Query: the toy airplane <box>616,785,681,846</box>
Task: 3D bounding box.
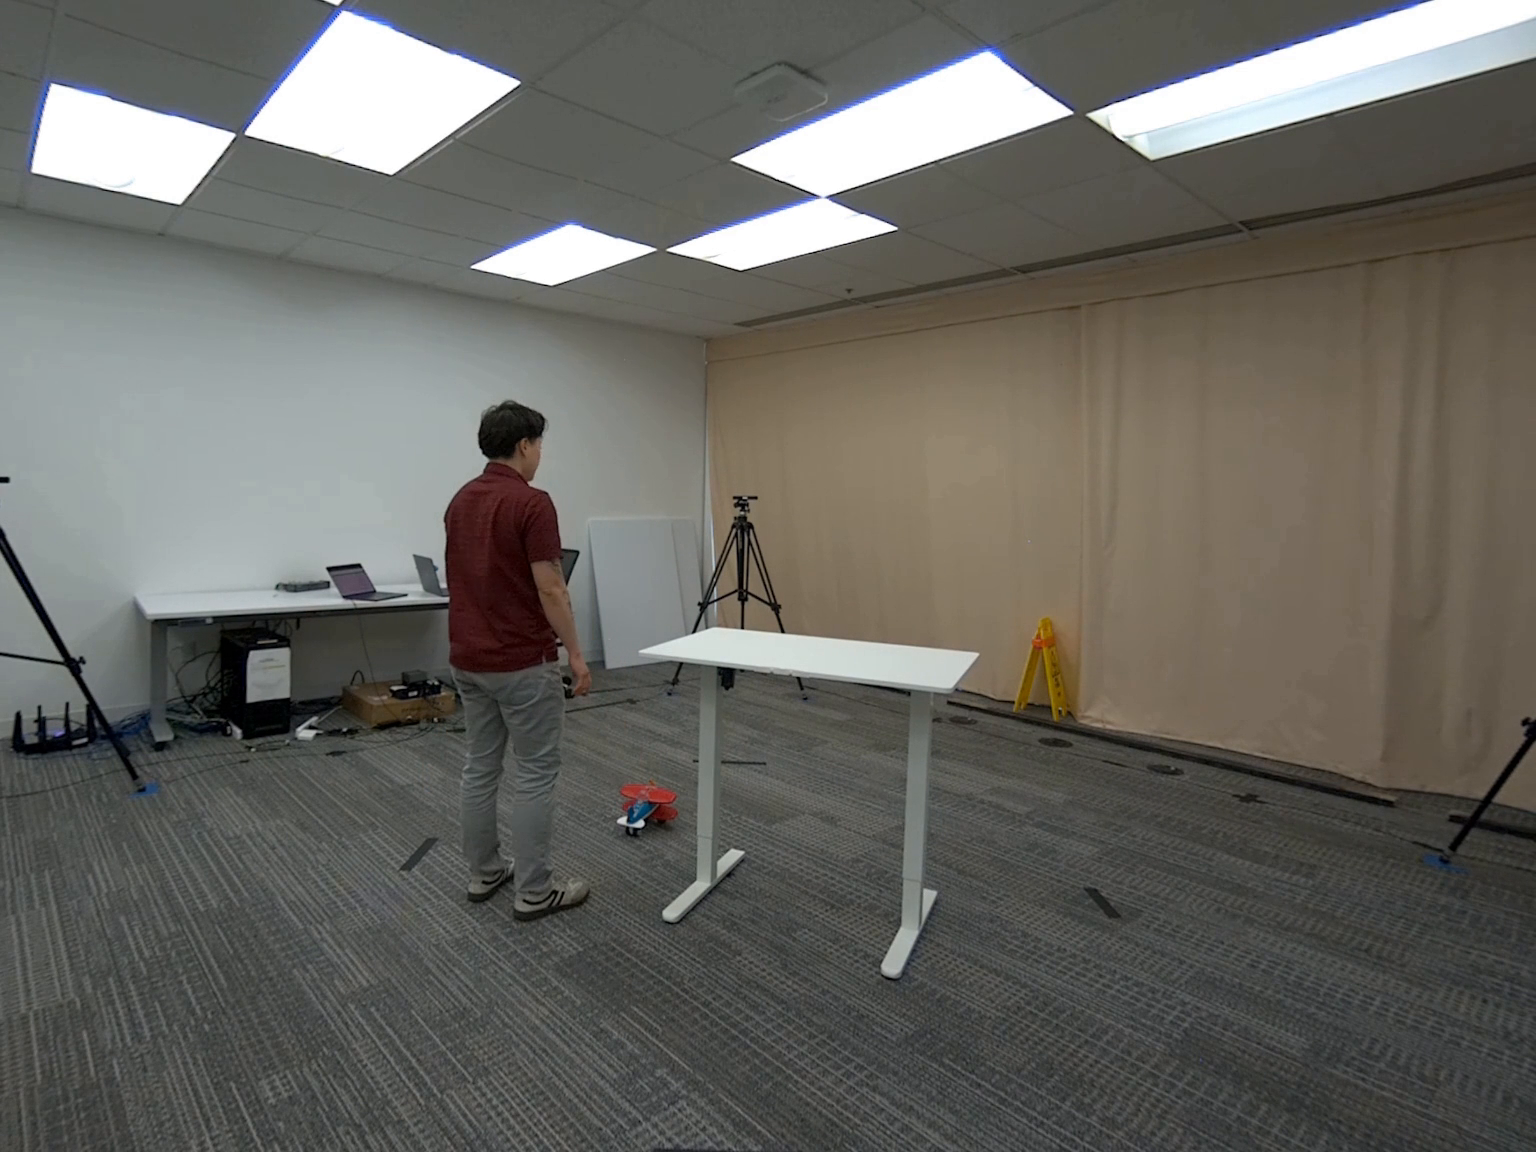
[{"bbox_3d":[-0.500,0.988,3.516,0.250,0.156,0.261,2,4,-7],"label":"toy airplane"}]
